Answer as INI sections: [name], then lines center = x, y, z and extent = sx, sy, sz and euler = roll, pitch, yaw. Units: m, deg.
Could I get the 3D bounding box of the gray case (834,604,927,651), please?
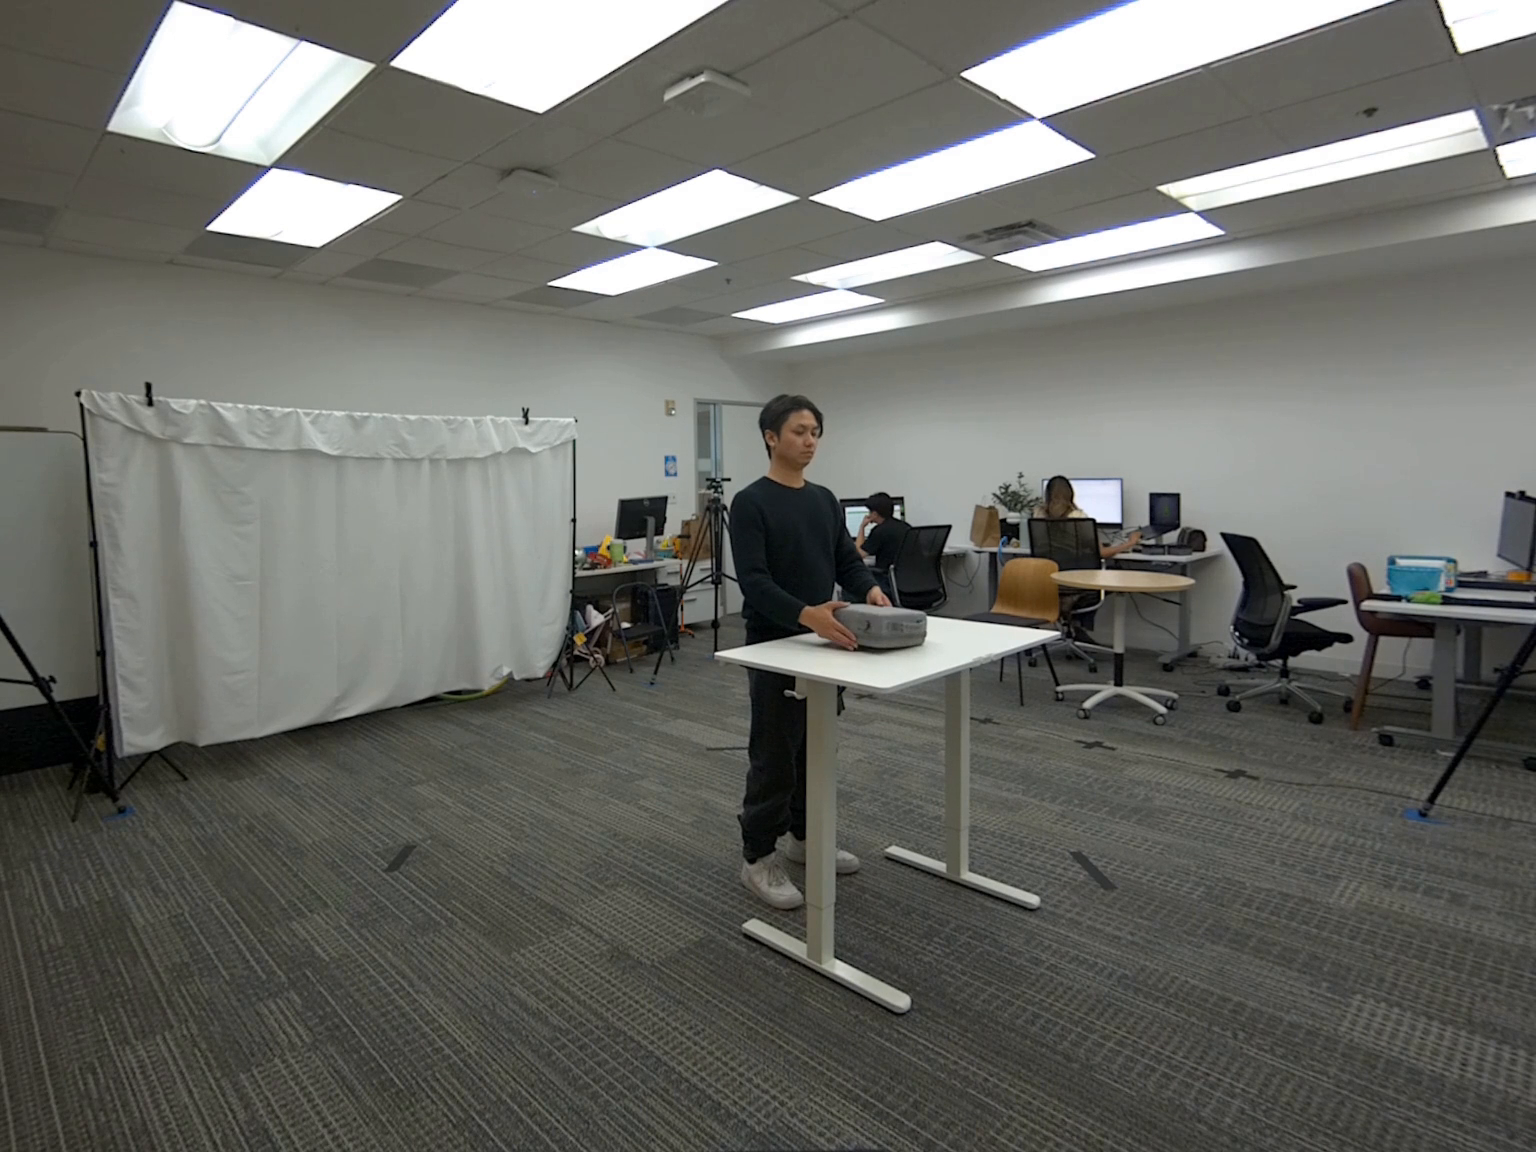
[gray case]
center = 0.324, 0.151, 2.599
extent = 0.269, 0.104, 0.249
euler = 5, 3, 43
